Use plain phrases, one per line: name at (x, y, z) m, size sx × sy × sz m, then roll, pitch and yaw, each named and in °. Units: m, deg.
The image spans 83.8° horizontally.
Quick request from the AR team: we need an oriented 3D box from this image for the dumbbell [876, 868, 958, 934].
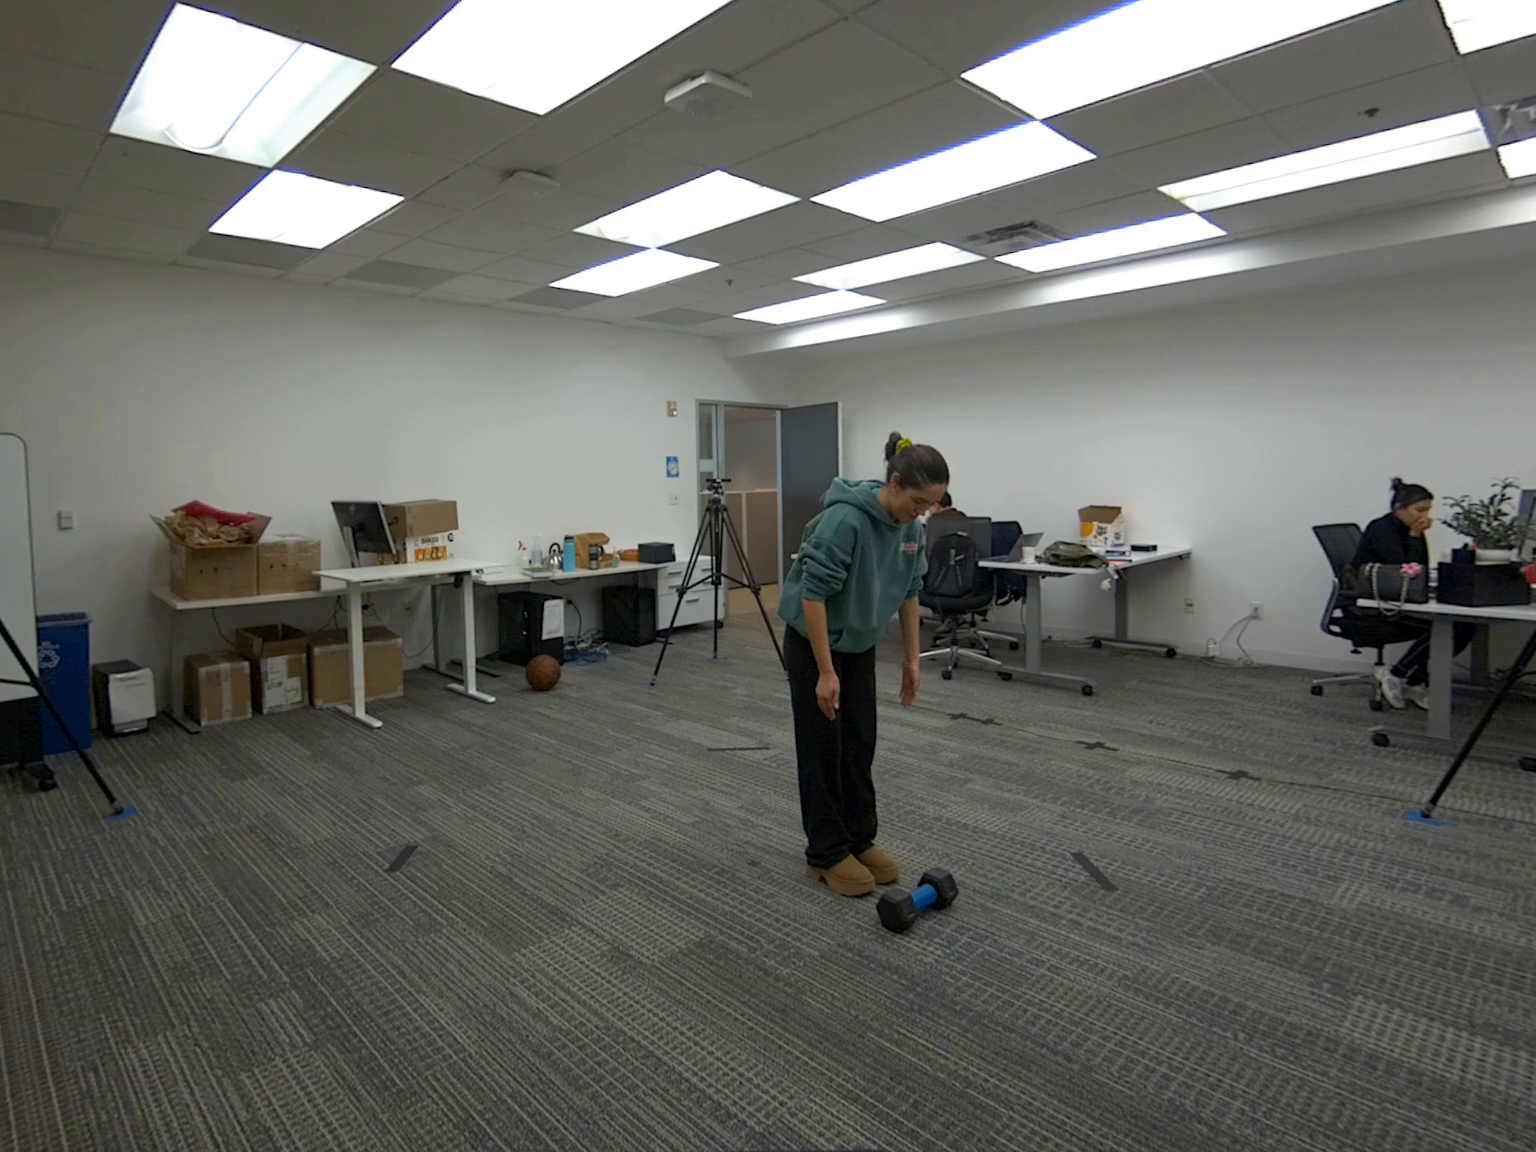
dumbbell at (0.482, 1.025, 2.710) m, size 0.286 × 0.121 × 0.113 m, roll -6°, pitch 38°, yaw -40°
